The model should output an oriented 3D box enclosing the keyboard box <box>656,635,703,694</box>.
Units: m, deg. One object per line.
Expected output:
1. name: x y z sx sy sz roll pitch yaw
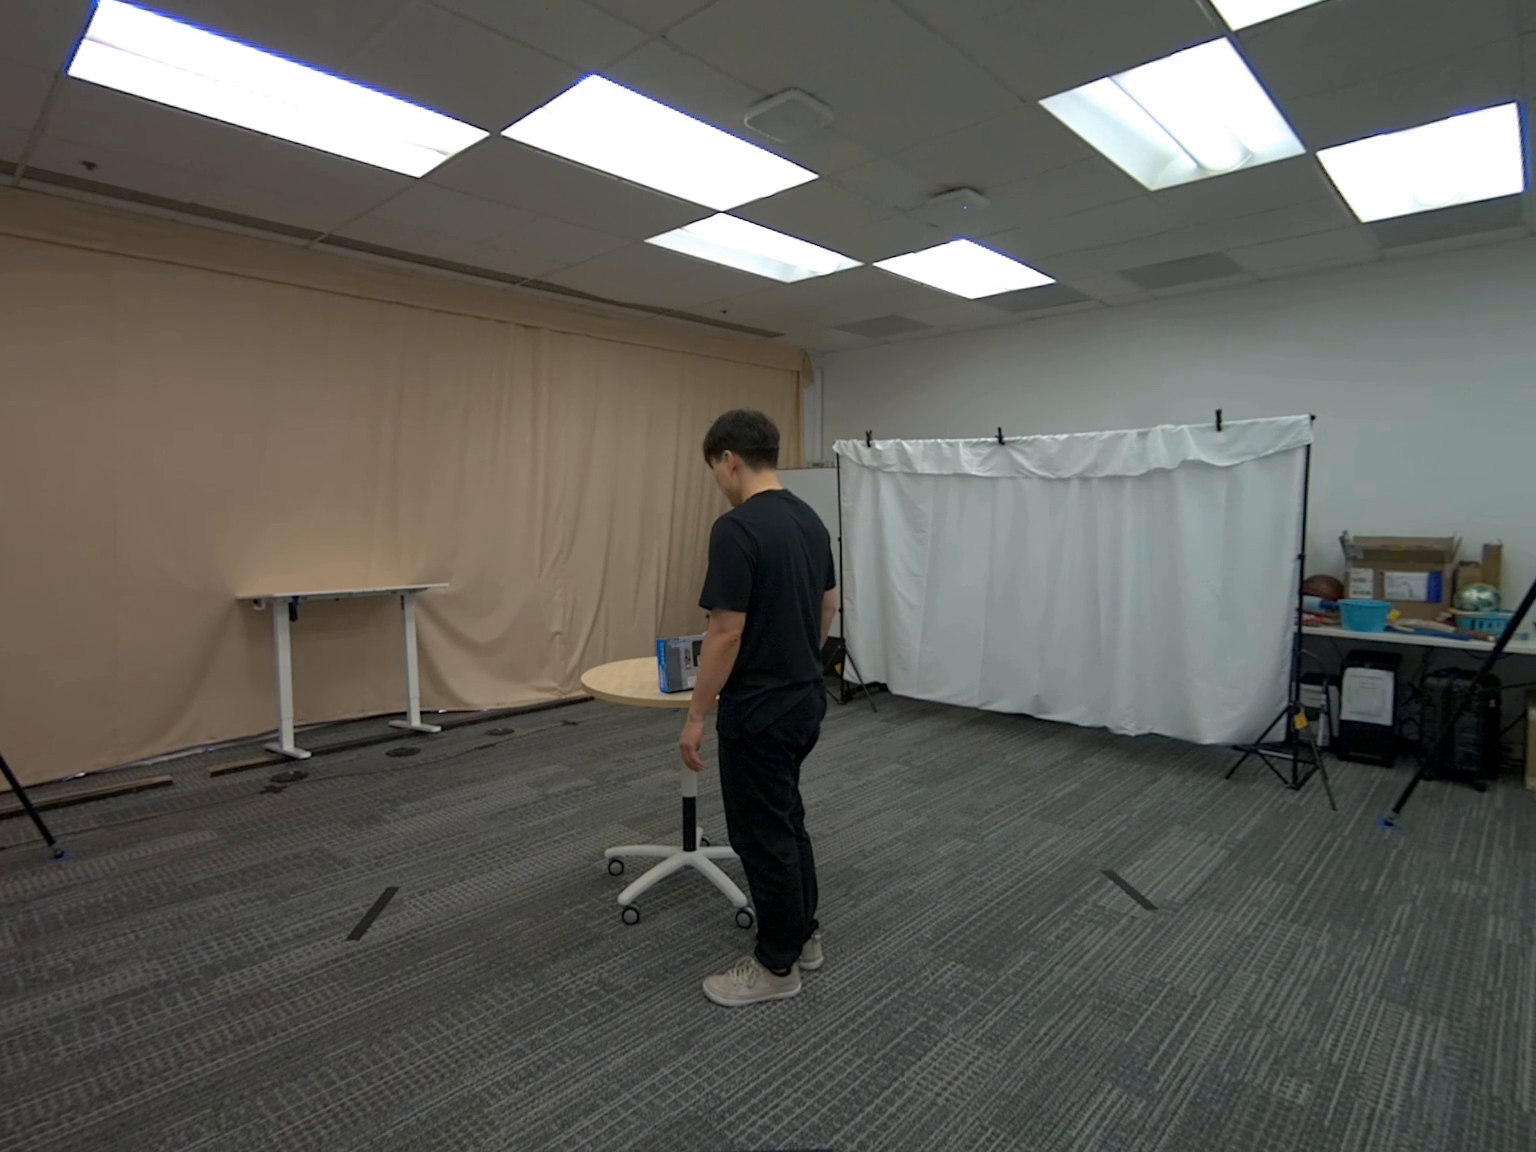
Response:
1. keyboard box: -0.170 0.284 2.870 0.424 0.176 0.061 -3 -3 -34
